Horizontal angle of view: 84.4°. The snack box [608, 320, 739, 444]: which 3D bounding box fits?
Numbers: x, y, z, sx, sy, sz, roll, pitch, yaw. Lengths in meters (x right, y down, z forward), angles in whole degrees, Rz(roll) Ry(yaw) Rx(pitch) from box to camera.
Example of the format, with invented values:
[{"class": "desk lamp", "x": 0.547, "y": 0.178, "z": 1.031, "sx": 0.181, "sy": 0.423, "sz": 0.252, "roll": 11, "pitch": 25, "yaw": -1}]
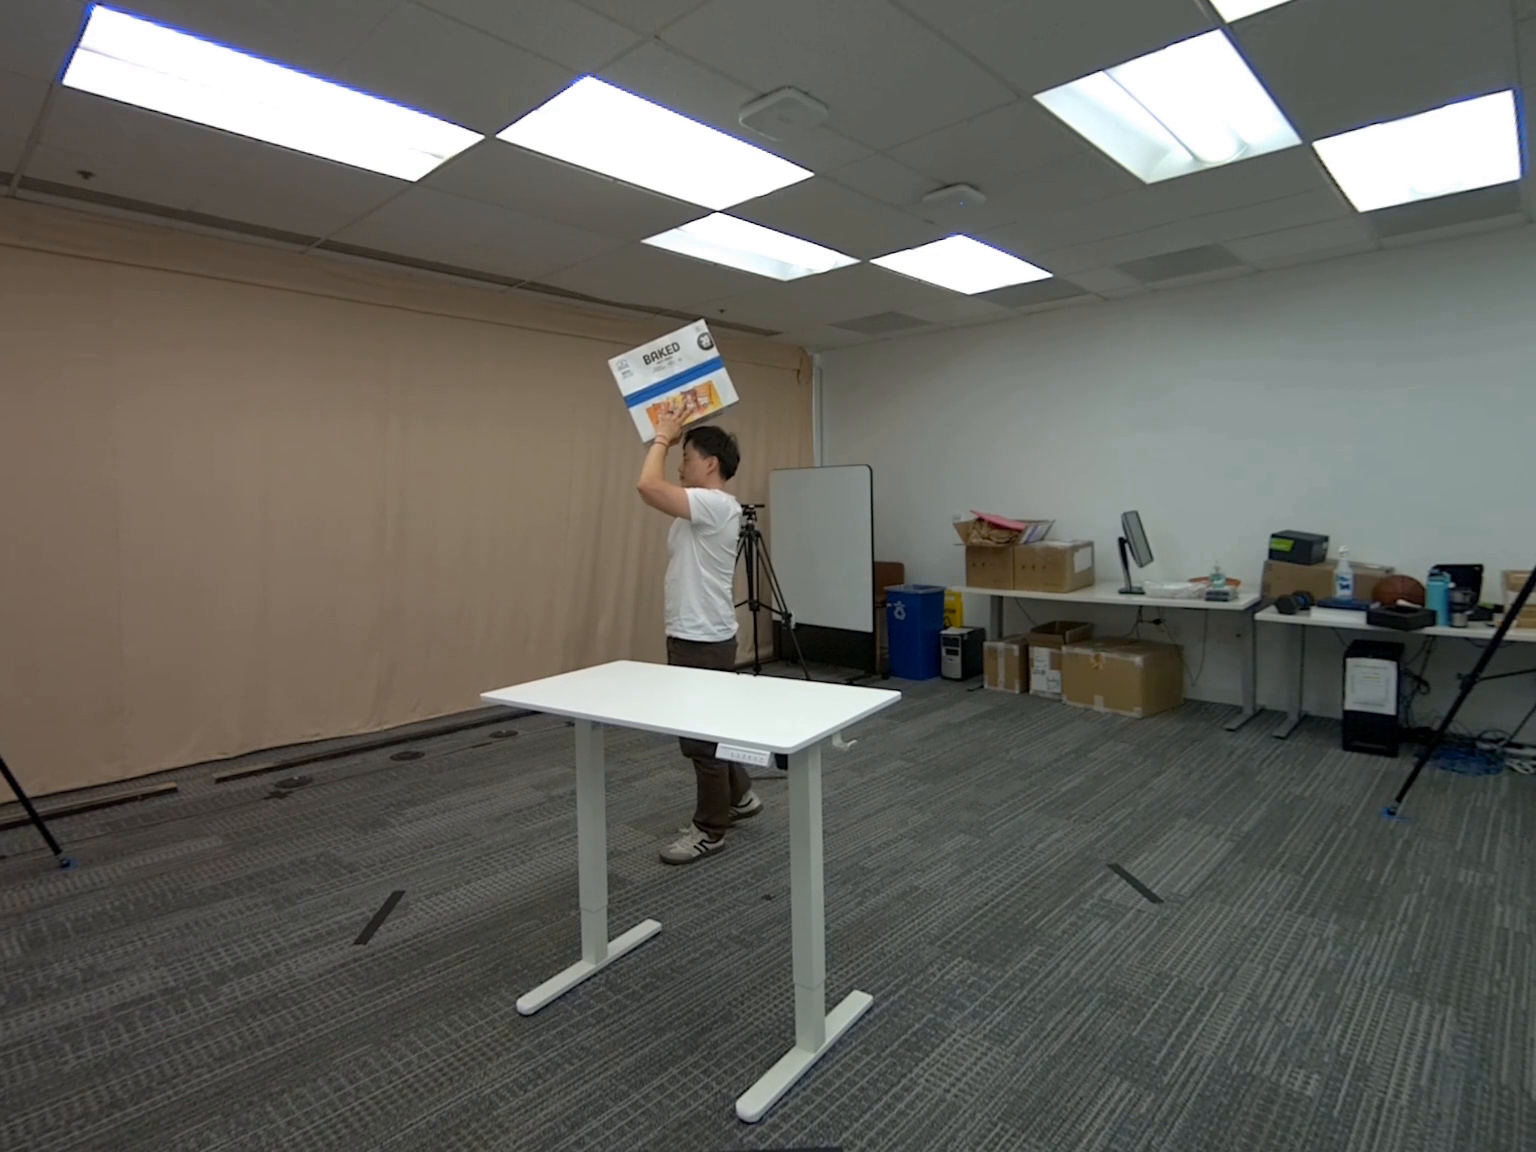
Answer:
[{"class": "snack box", "x": -0.364, "y": -0.744, "z": 3.302, "sx": 0.404, "sy": 0.340, "sz": 0.206, "roll": -24, "pitch": 1, "yaw": -2}]
